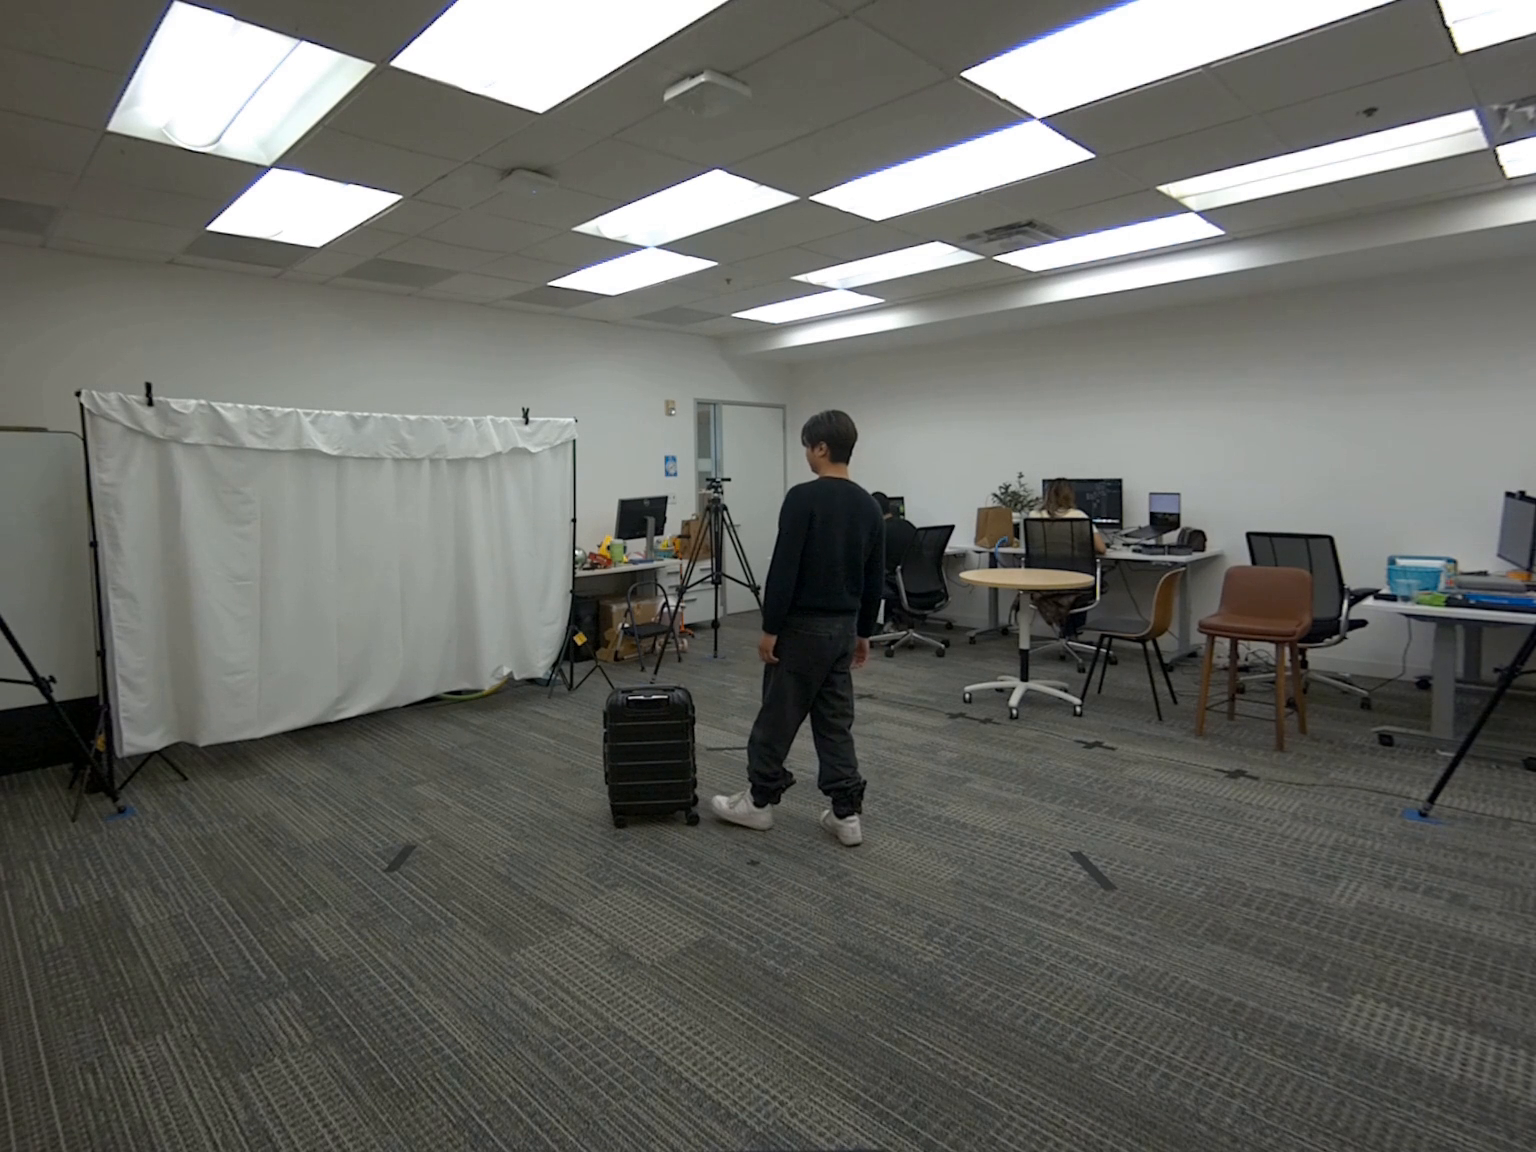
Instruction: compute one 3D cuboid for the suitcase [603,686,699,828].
[{"bbox_3d":[-0.491,0.728,3.555,0.374,0.547,0.250,-2,4,-4],"label":"suitcase"}]
